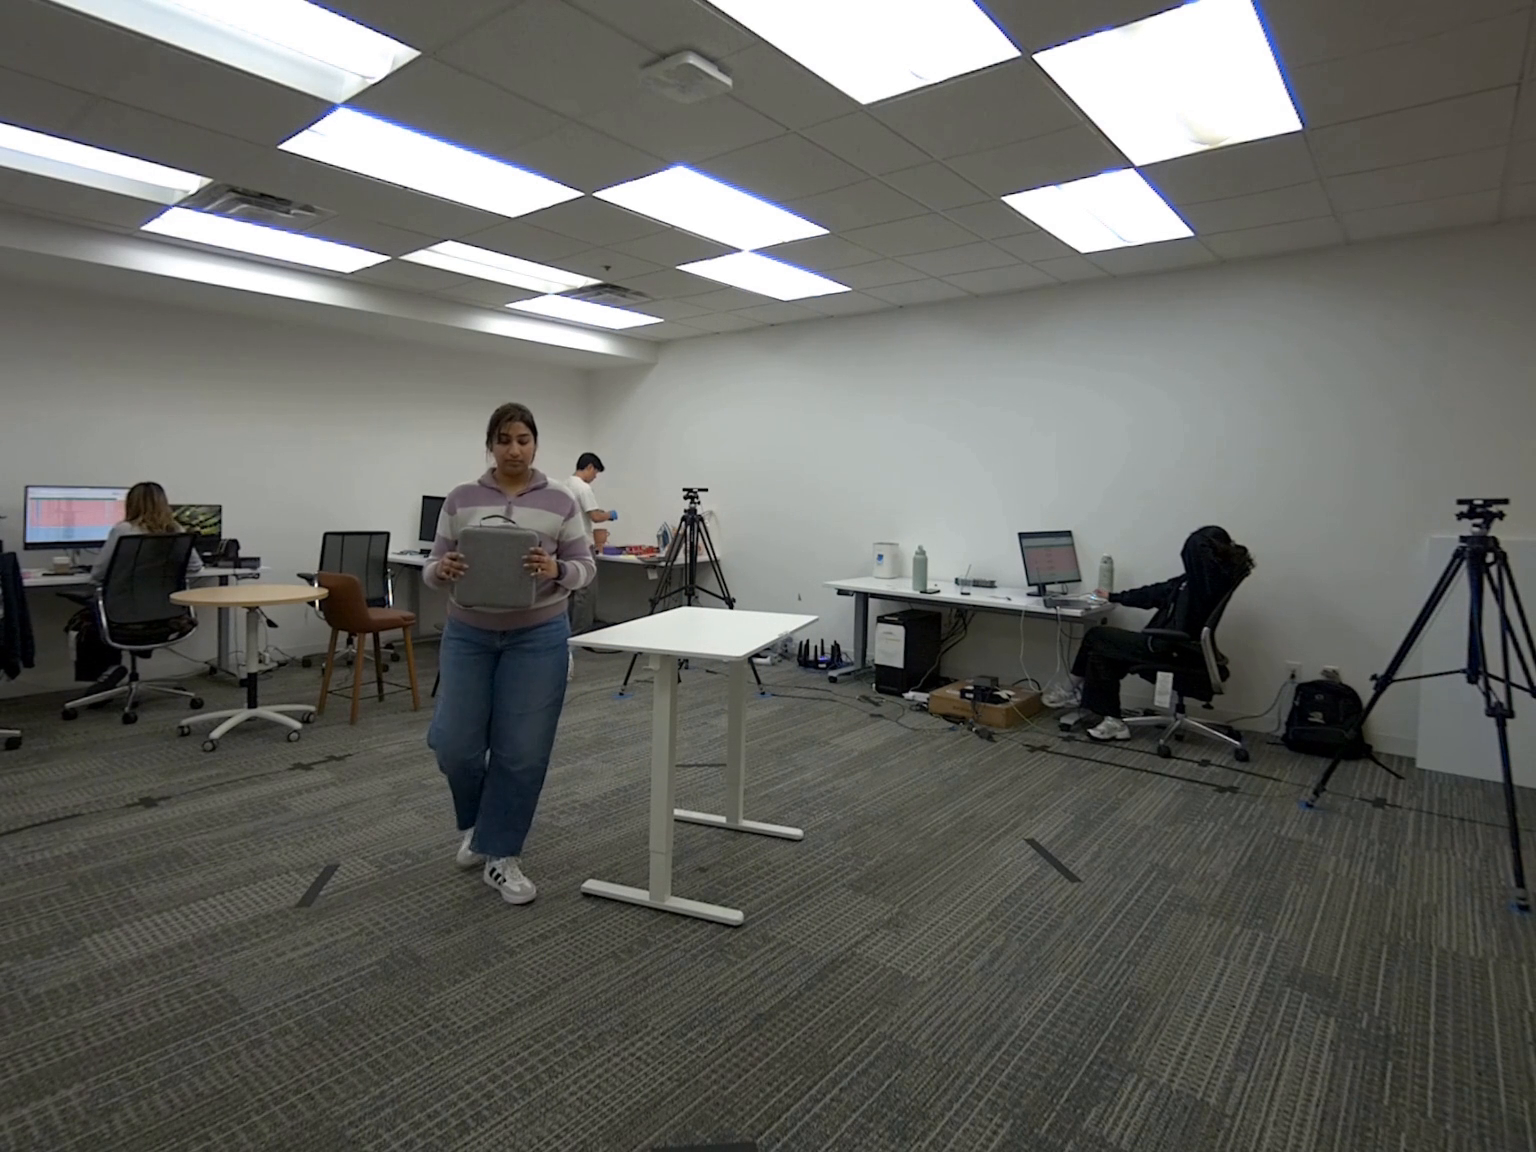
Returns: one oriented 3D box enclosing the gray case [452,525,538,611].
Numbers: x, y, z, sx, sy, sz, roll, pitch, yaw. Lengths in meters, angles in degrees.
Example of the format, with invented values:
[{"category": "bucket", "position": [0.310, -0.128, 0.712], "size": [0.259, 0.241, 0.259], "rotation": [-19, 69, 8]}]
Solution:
[{"category": "gray case", "position": [-0.888, -0.030, 2.710], "size": [0.254, 0.260, 0.106], "rotation": [1, 4, -12]}]
